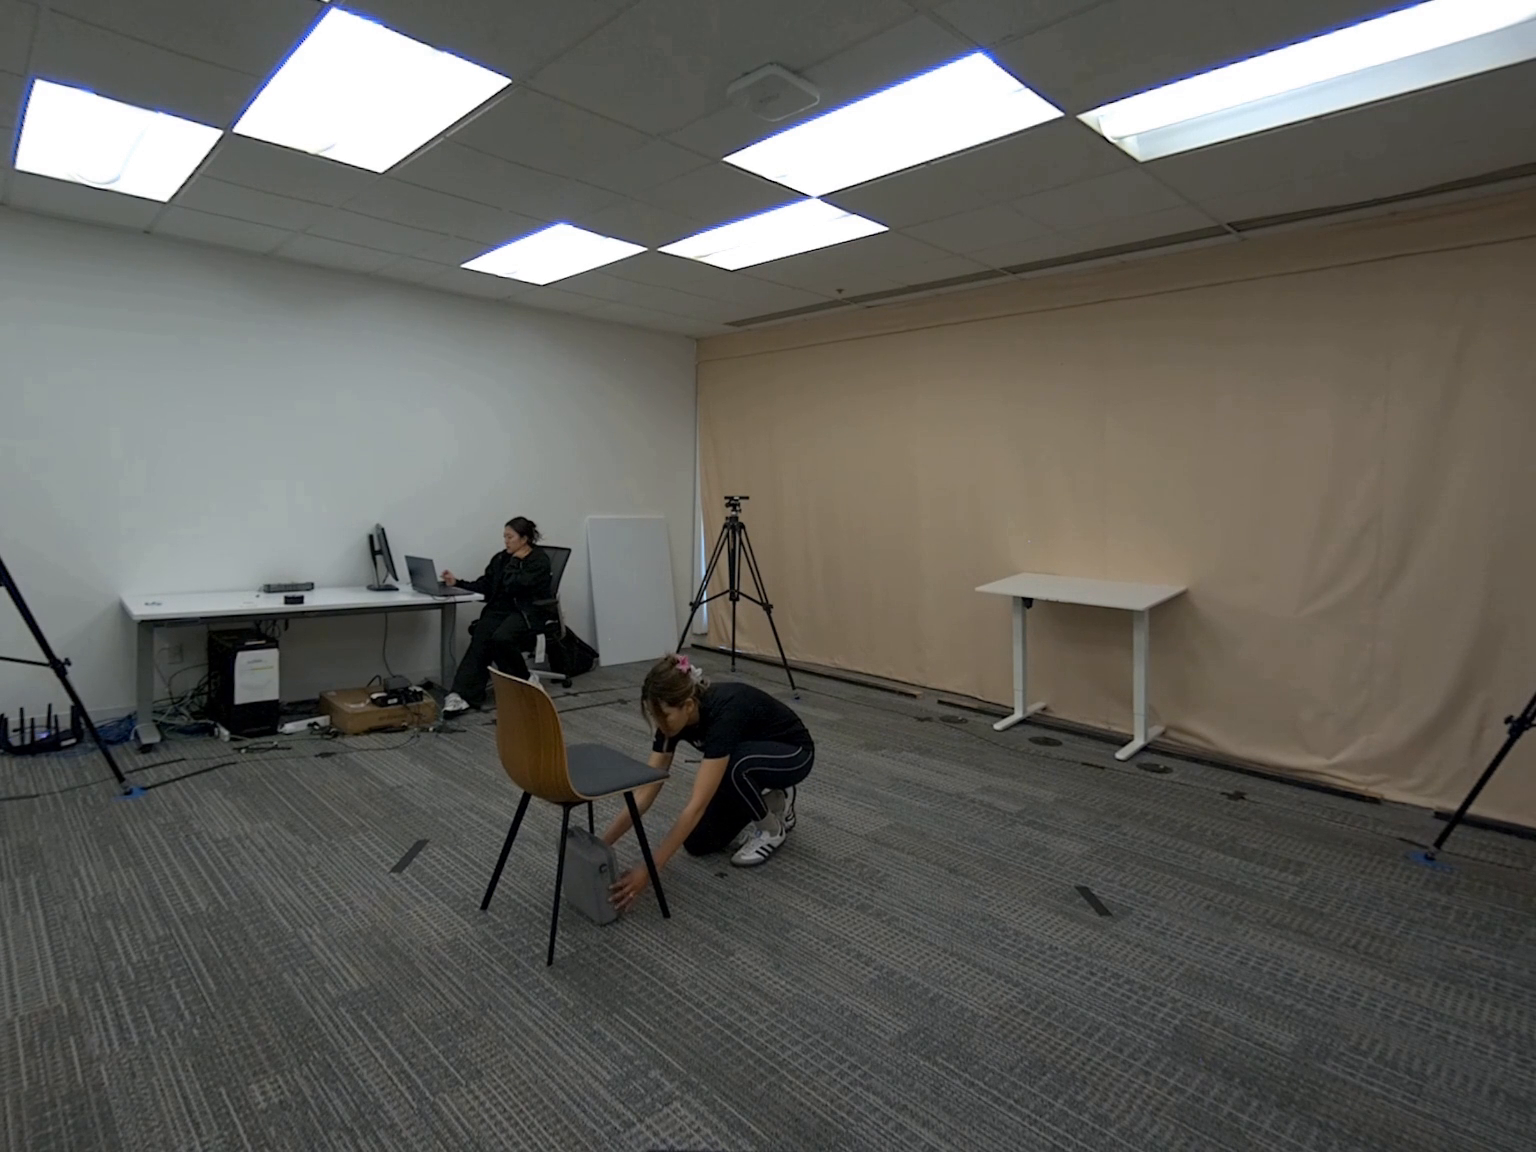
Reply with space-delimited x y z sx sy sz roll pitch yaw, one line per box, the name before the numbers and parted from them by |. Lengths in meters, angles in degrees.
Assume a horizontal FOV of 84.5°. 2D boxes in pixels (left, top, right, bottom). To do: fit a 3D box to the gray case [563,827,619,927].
gray case | -0.604 0.998 2.789 0.102 0.259 0.263 -12 11 -37
